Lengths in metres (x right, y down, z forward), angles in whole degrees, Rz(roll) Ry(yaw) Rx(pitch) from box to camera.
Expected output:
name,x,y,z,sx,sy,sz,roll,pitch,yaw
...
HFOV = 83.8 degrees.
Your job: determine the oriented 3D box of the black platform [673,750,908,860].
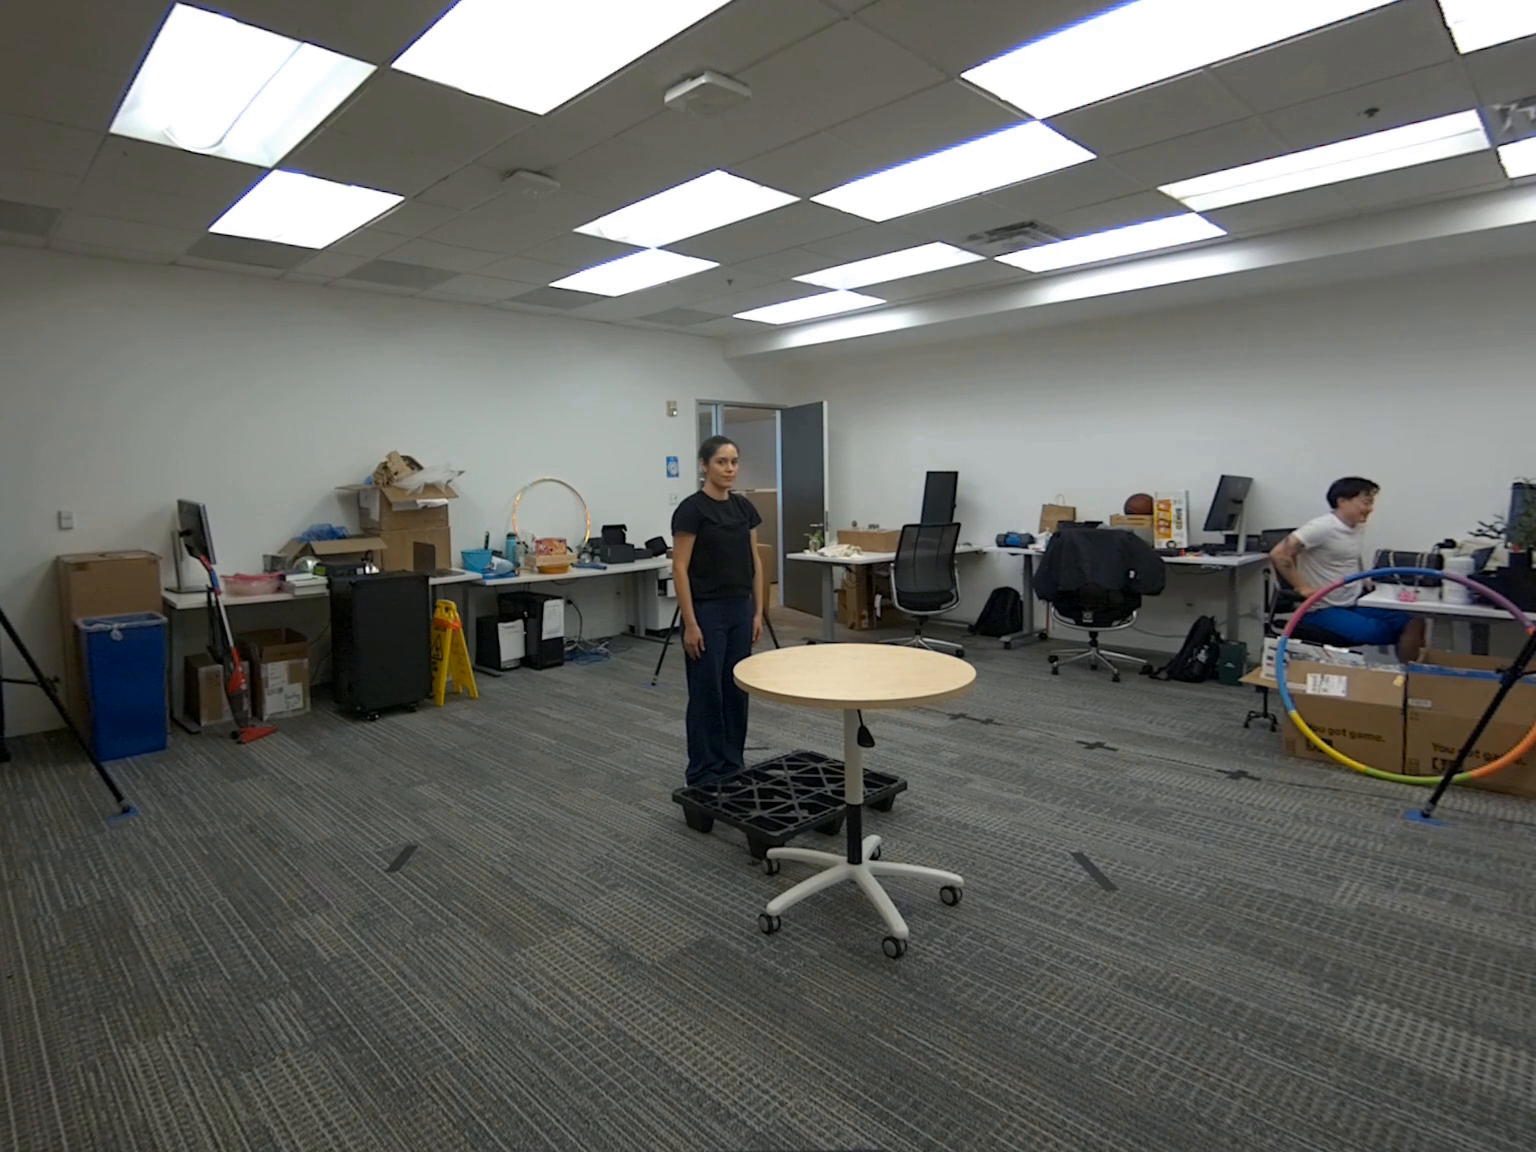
name,x,y,z,sx,sy,sz,roll,pitch,yaw
black platform,0.091,0.931,3.521,0.784,0.143,0.624,-7,8,-44
